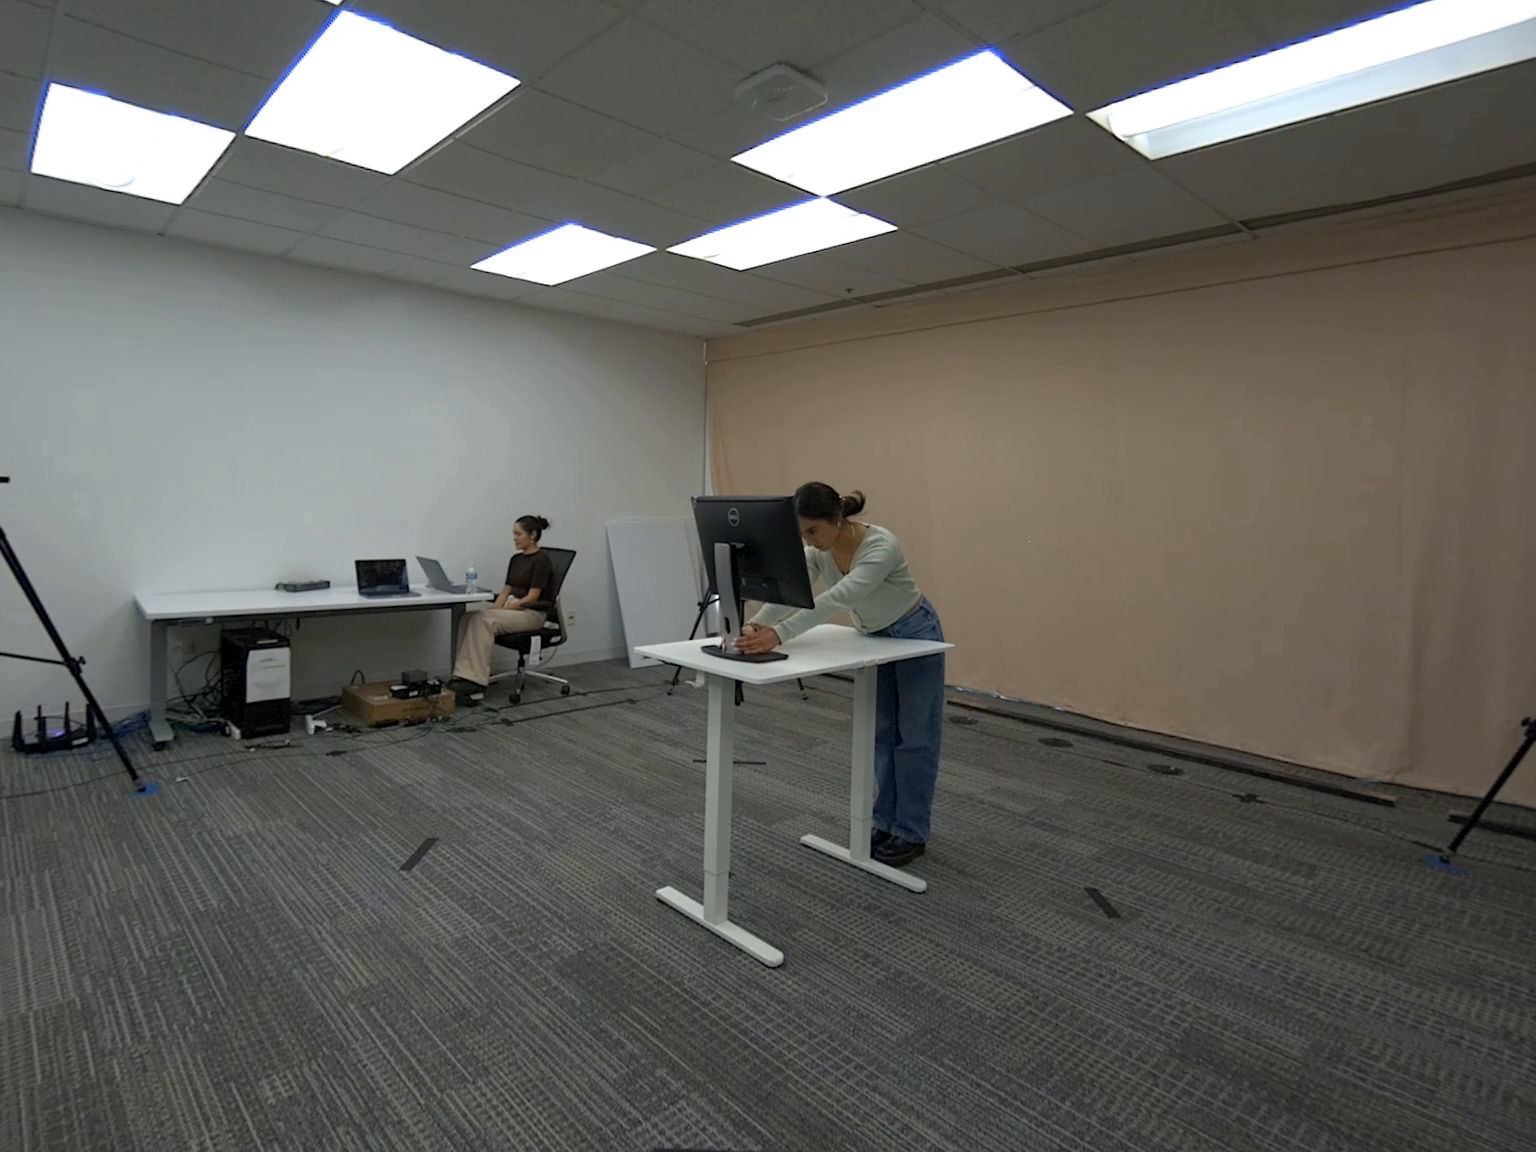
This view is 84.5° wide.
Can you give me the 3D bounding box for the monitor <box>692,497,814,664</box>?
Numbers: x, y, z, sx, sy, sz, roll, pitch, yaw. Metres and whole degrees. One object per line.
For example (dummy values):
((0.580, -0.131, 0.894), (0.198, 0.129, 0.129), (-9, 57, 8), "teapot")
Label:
((-0.093, 0.005, 2.688), (0.183, 0.521, 0.552), (-2, 5, -38), "monitor")
